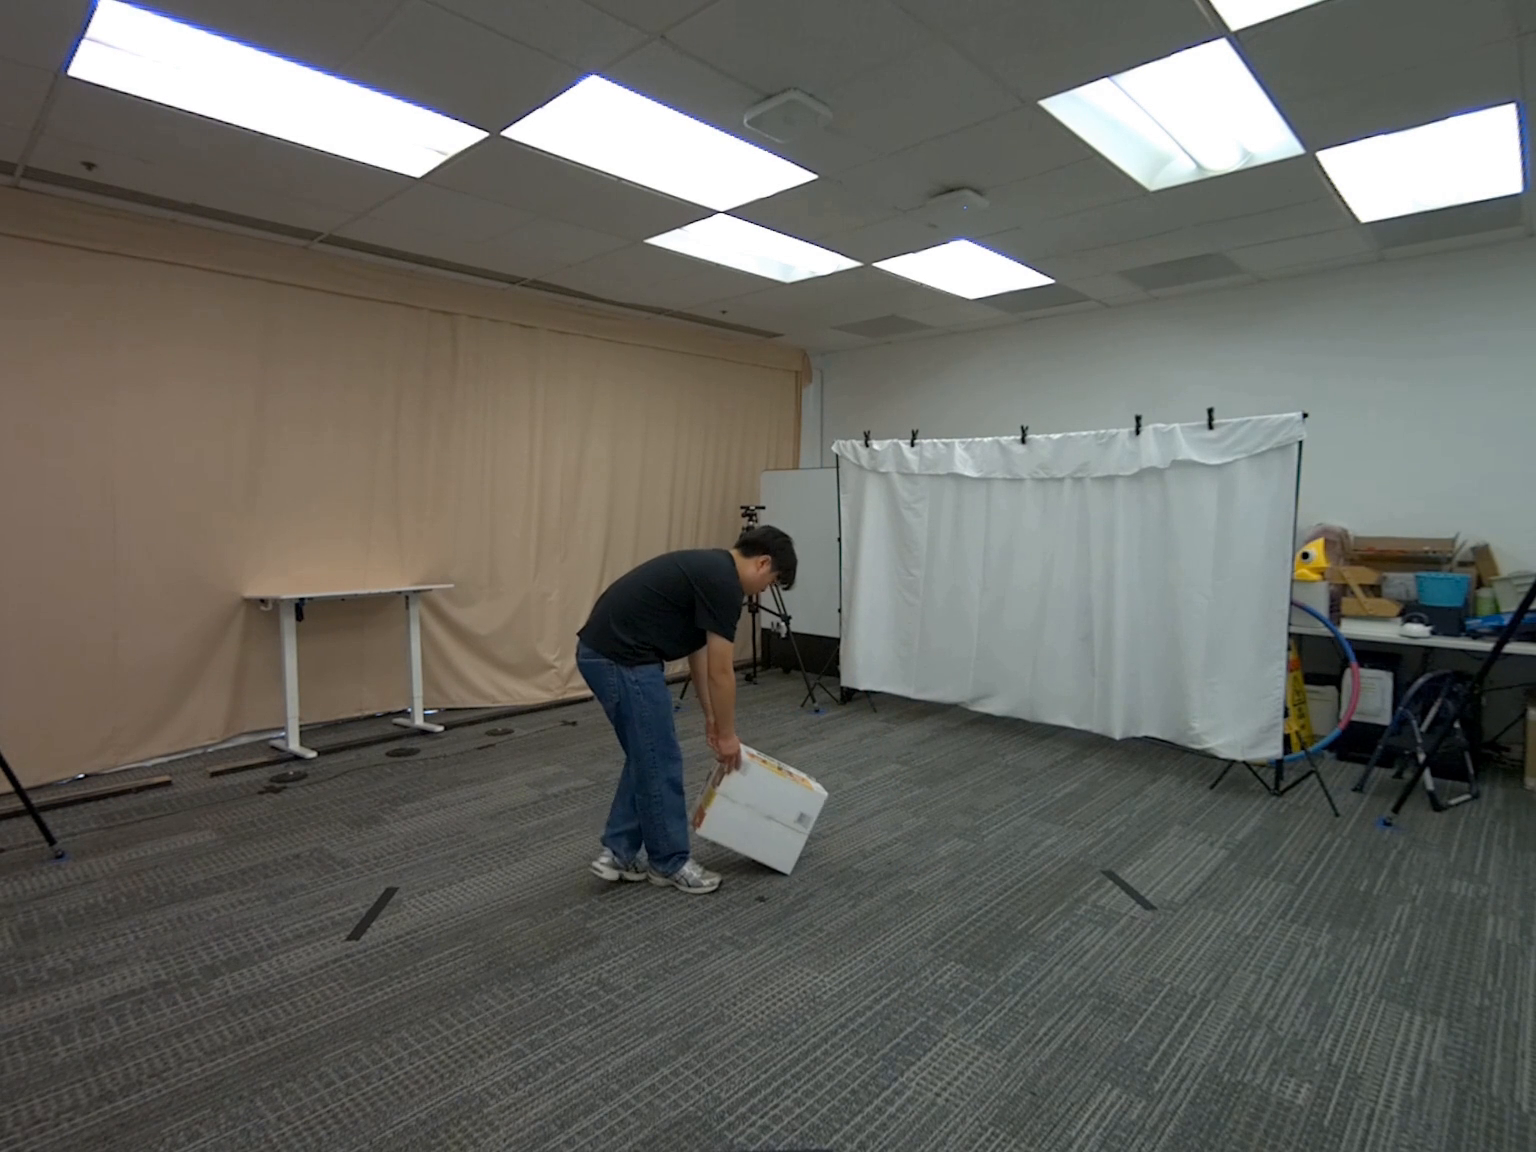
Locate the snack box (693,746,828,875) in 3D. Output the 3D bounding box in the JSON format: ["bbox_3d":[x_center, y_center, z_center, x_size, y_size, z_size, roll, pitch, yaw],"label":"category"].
[{"bbox_3d":[-0.038,0.879,3.226,0.400,0.340,0.208,27,-1,-10],"label":"snack box"}]
